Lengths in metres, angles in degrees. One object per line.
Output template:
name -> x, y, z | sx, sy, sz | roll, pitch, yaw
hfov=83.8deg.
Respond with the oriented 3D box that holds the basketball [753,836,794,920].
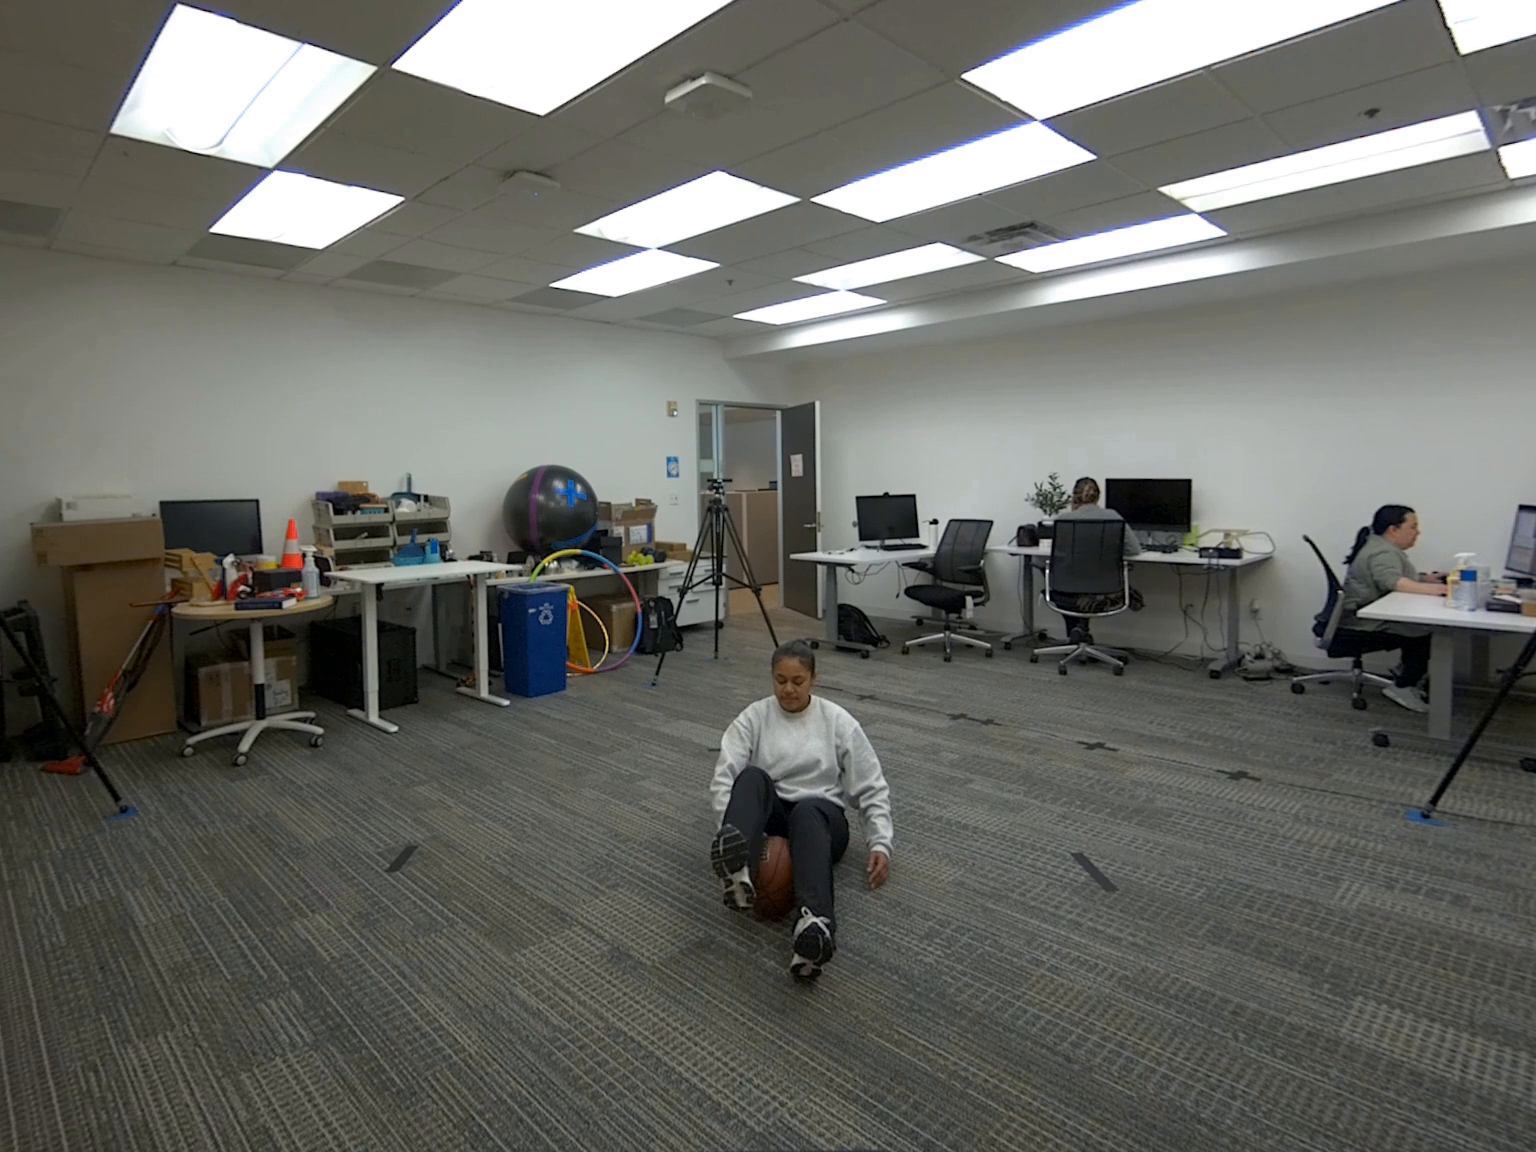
basketball -> 0.017, 0.968, 2.761 | 0.236, 0.235, 0.237 | -1, 5, -2
